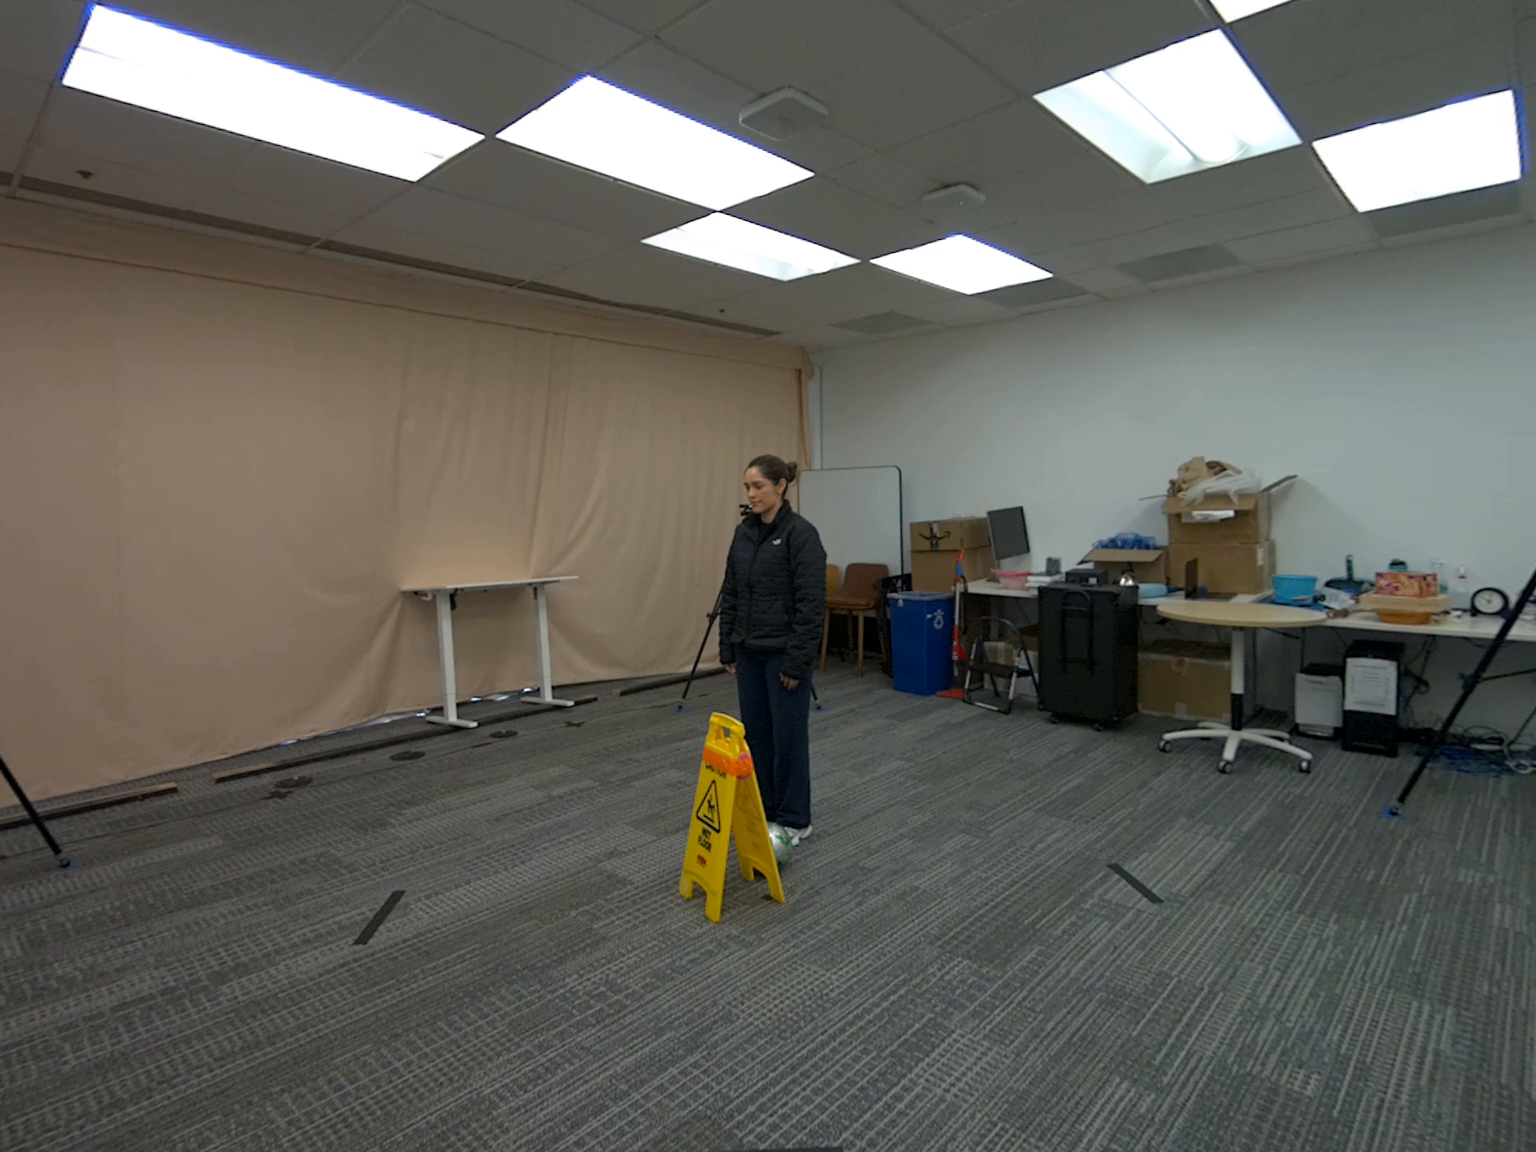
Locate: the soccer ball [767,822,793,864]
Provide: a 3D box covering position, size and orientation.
[{"bbox_3d":[0.003,1.019,3.194,0.187,0.187,0.188,-1,4,-2],"label":"soccer ball"}]
